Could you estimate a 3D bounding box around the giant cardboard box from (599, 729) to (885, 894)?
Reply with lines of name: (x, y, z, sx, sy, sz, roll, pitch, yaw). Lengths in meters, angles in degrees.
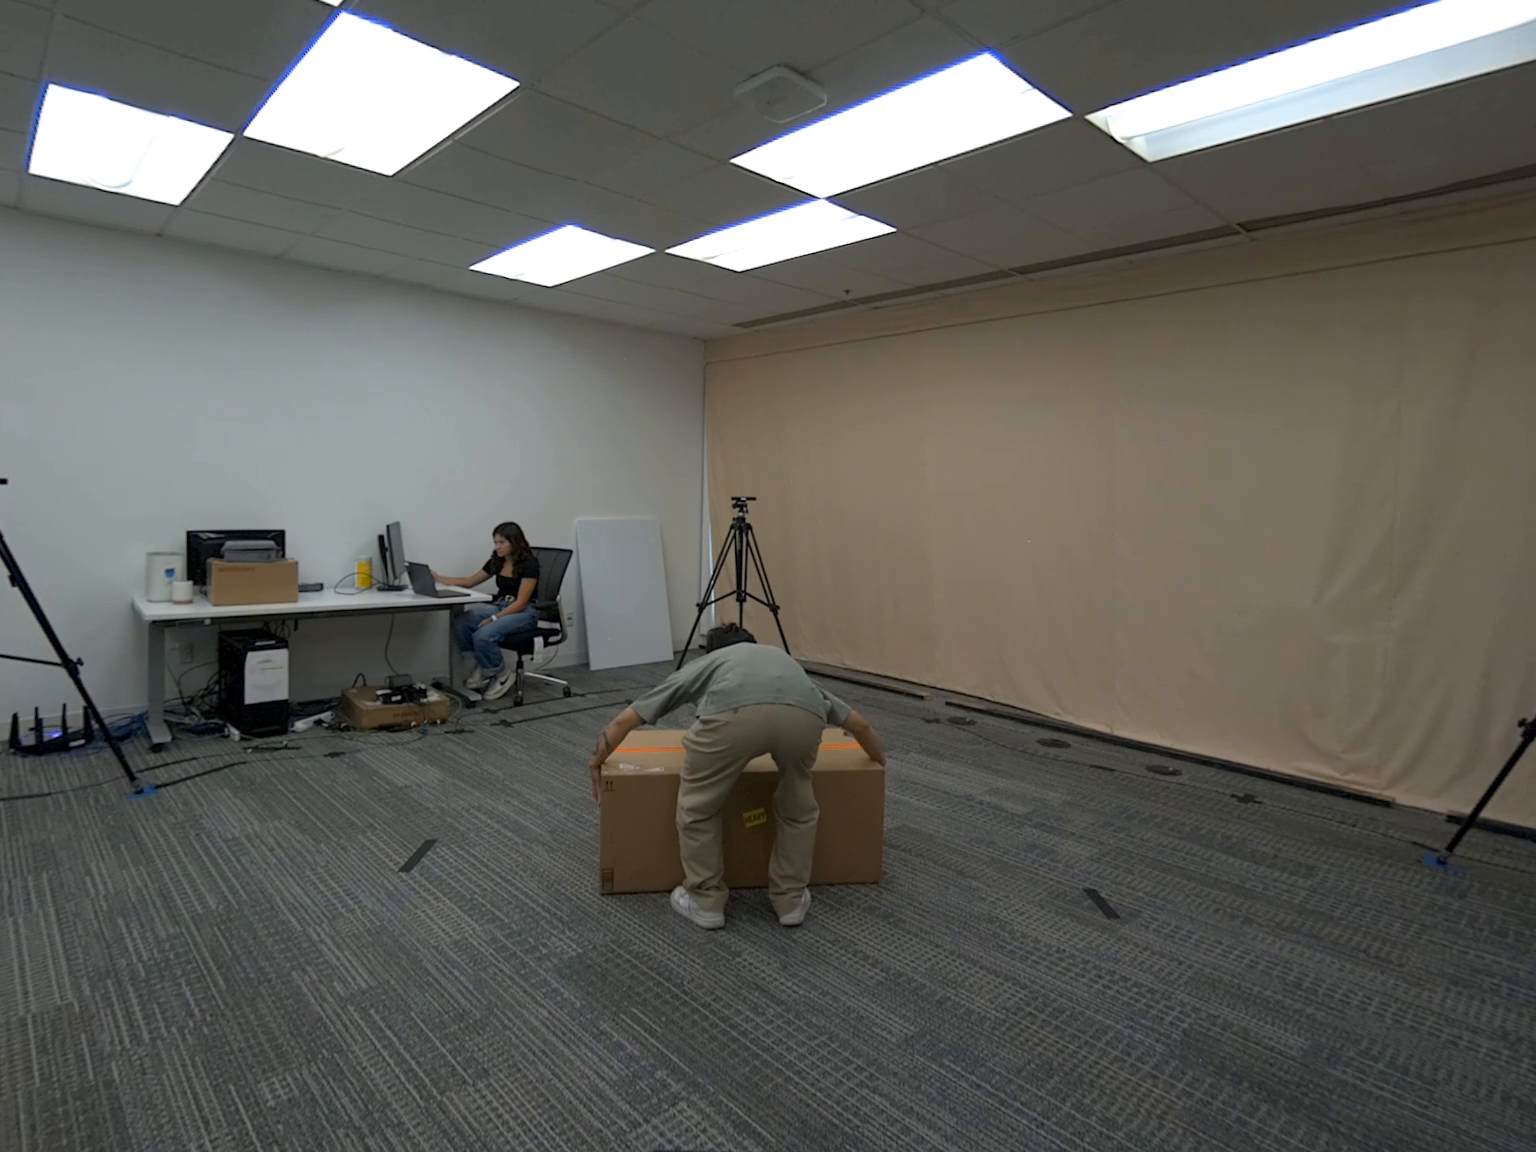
giant cardboard box: (-0.140, 0.870, 3.274, 1.018, 0.425, 0.584, 1, 5, -9)
